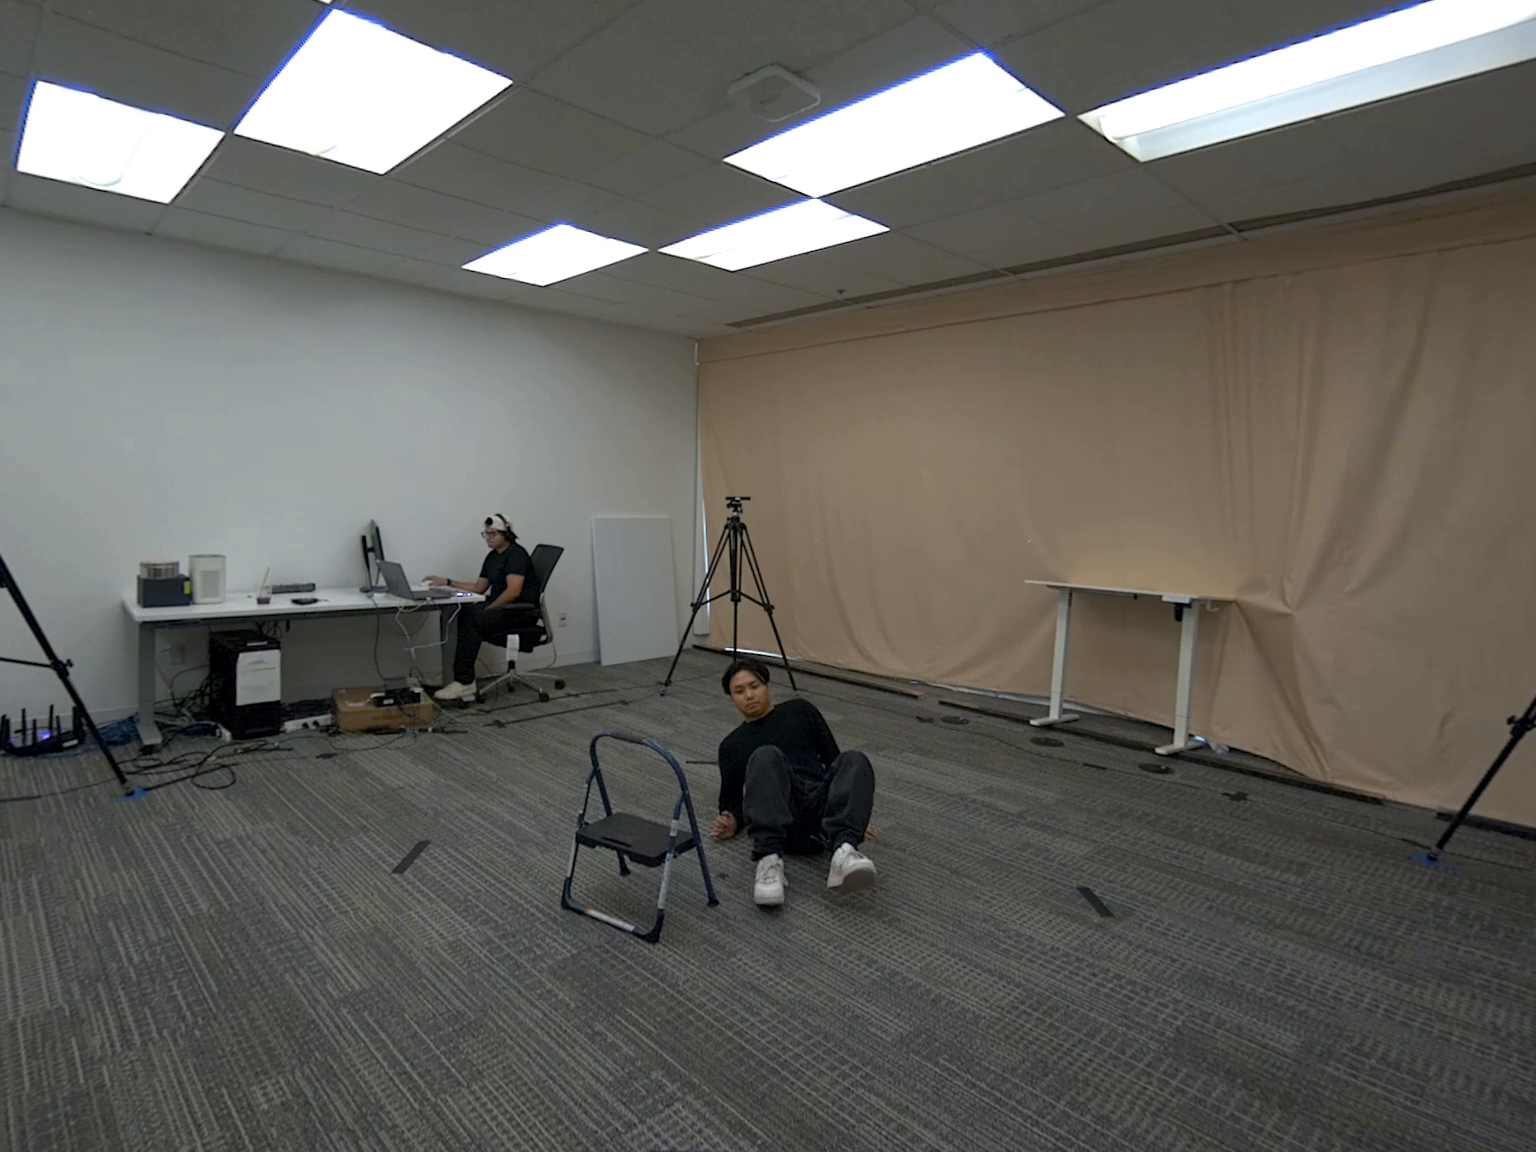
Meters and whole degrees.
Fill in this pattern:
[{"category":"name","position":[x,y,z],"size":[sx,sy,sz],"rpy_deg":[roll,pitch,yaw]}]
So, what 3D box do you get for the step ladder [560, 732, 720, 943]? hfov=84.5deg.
[{"category":"step ladder","position":[-0.436,0.820,2.849],"size":[0.440,0.605,0.342],"rpy_deg":[3,4,32]}]
